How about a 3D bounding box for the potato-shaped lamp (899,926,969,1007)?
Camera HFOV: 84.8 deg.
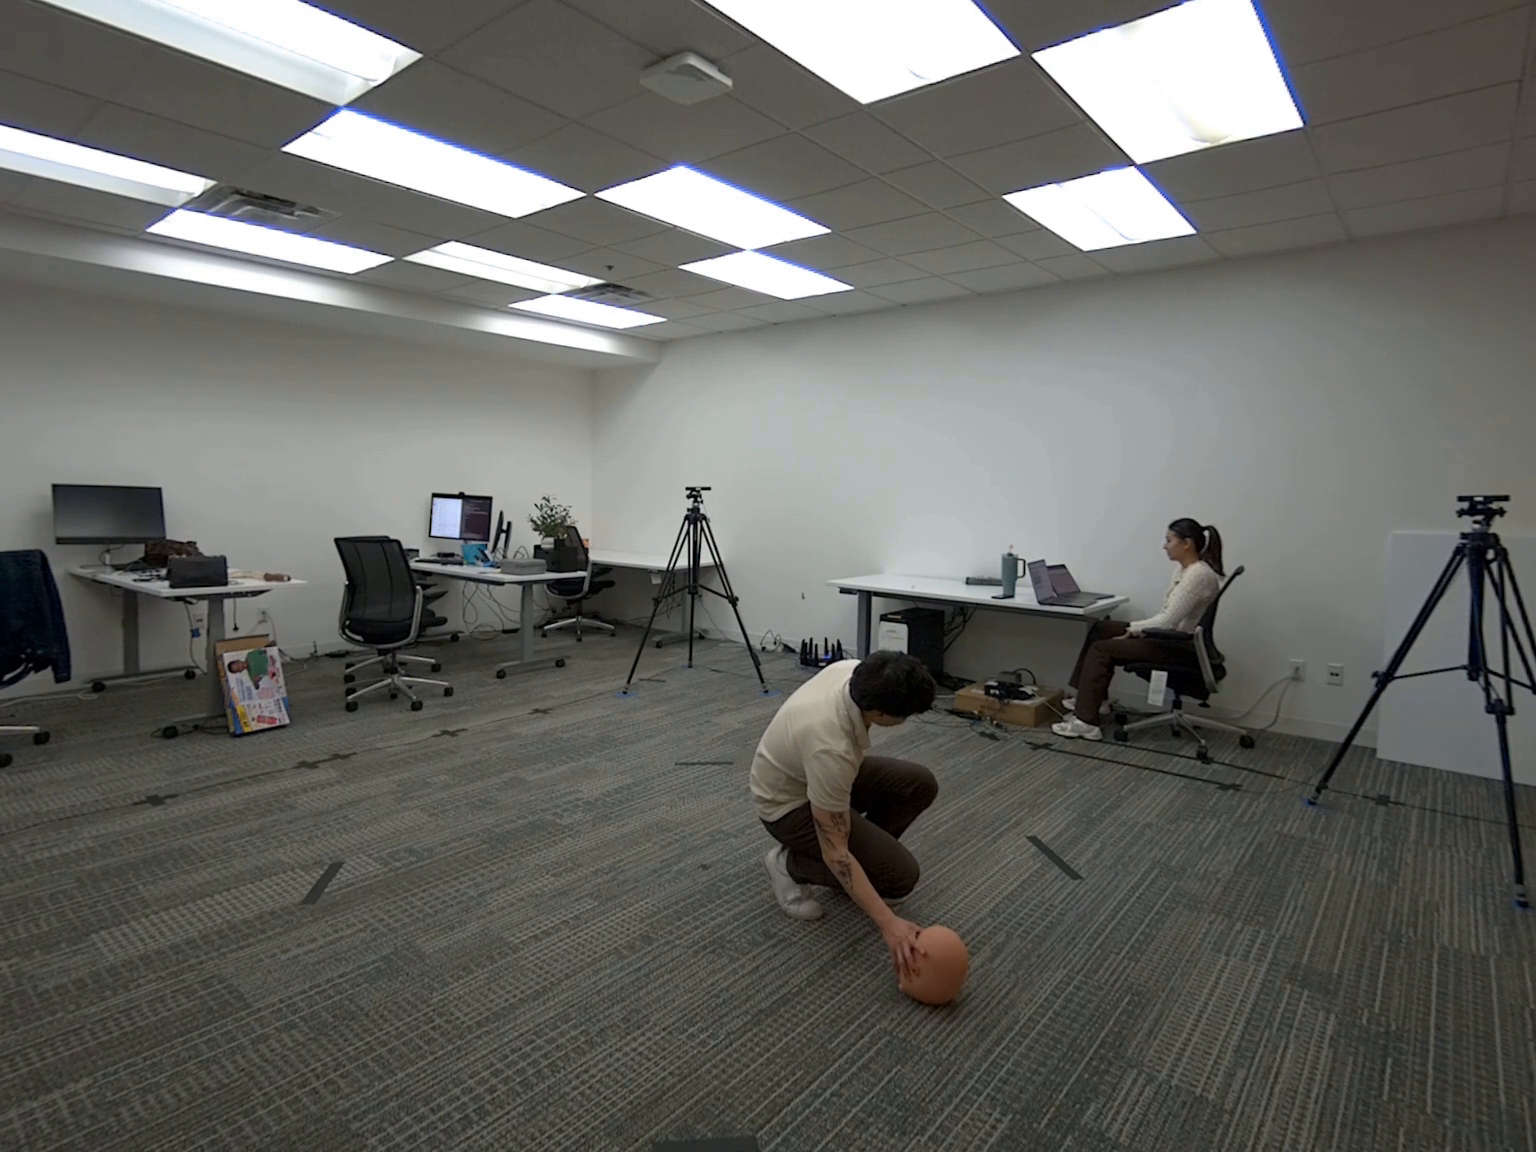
[{"bbox_3d":[0.462,1.052,2.329,0.168,0.195,0.171,-7,18,-25],"label":"potato-shaped lamp"}]
